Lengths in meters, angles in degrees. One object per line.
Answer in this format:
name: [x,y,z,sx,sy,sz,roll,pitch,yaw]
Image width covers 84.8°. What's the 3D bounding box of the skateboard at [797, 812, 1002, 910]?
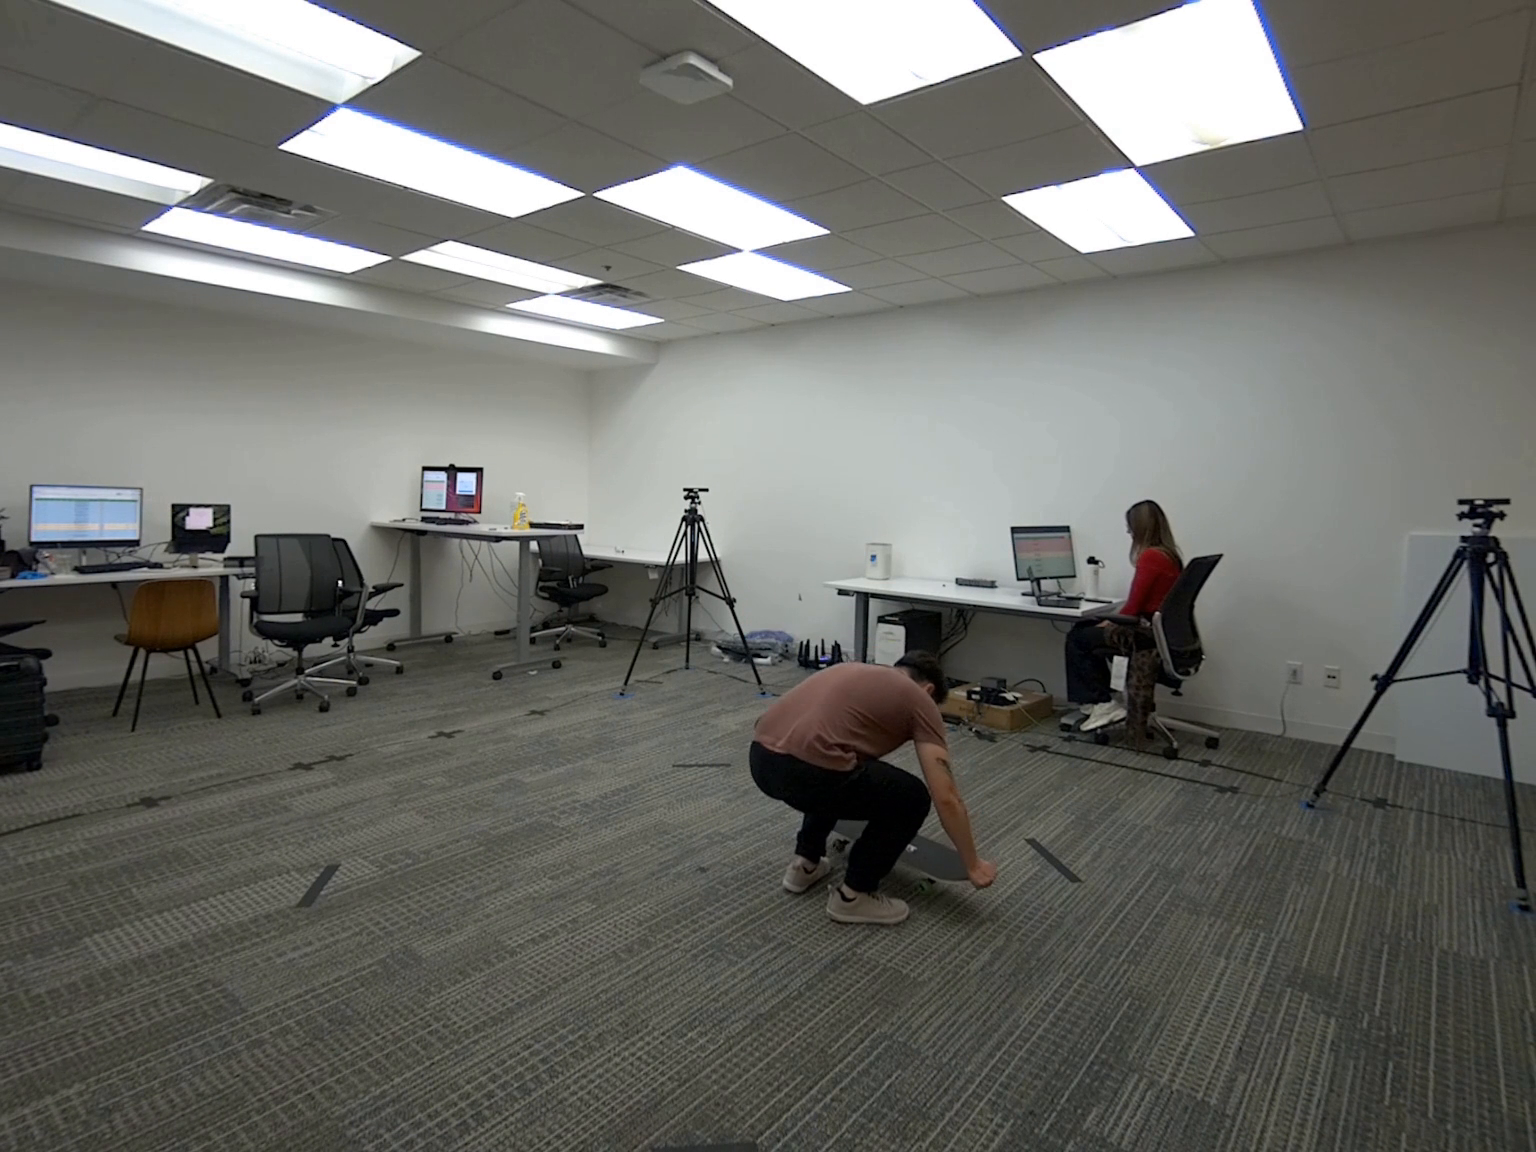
skateboard: [0.451,0.977,3.089,0.188,0.109,0.813,-10,12,-39]
